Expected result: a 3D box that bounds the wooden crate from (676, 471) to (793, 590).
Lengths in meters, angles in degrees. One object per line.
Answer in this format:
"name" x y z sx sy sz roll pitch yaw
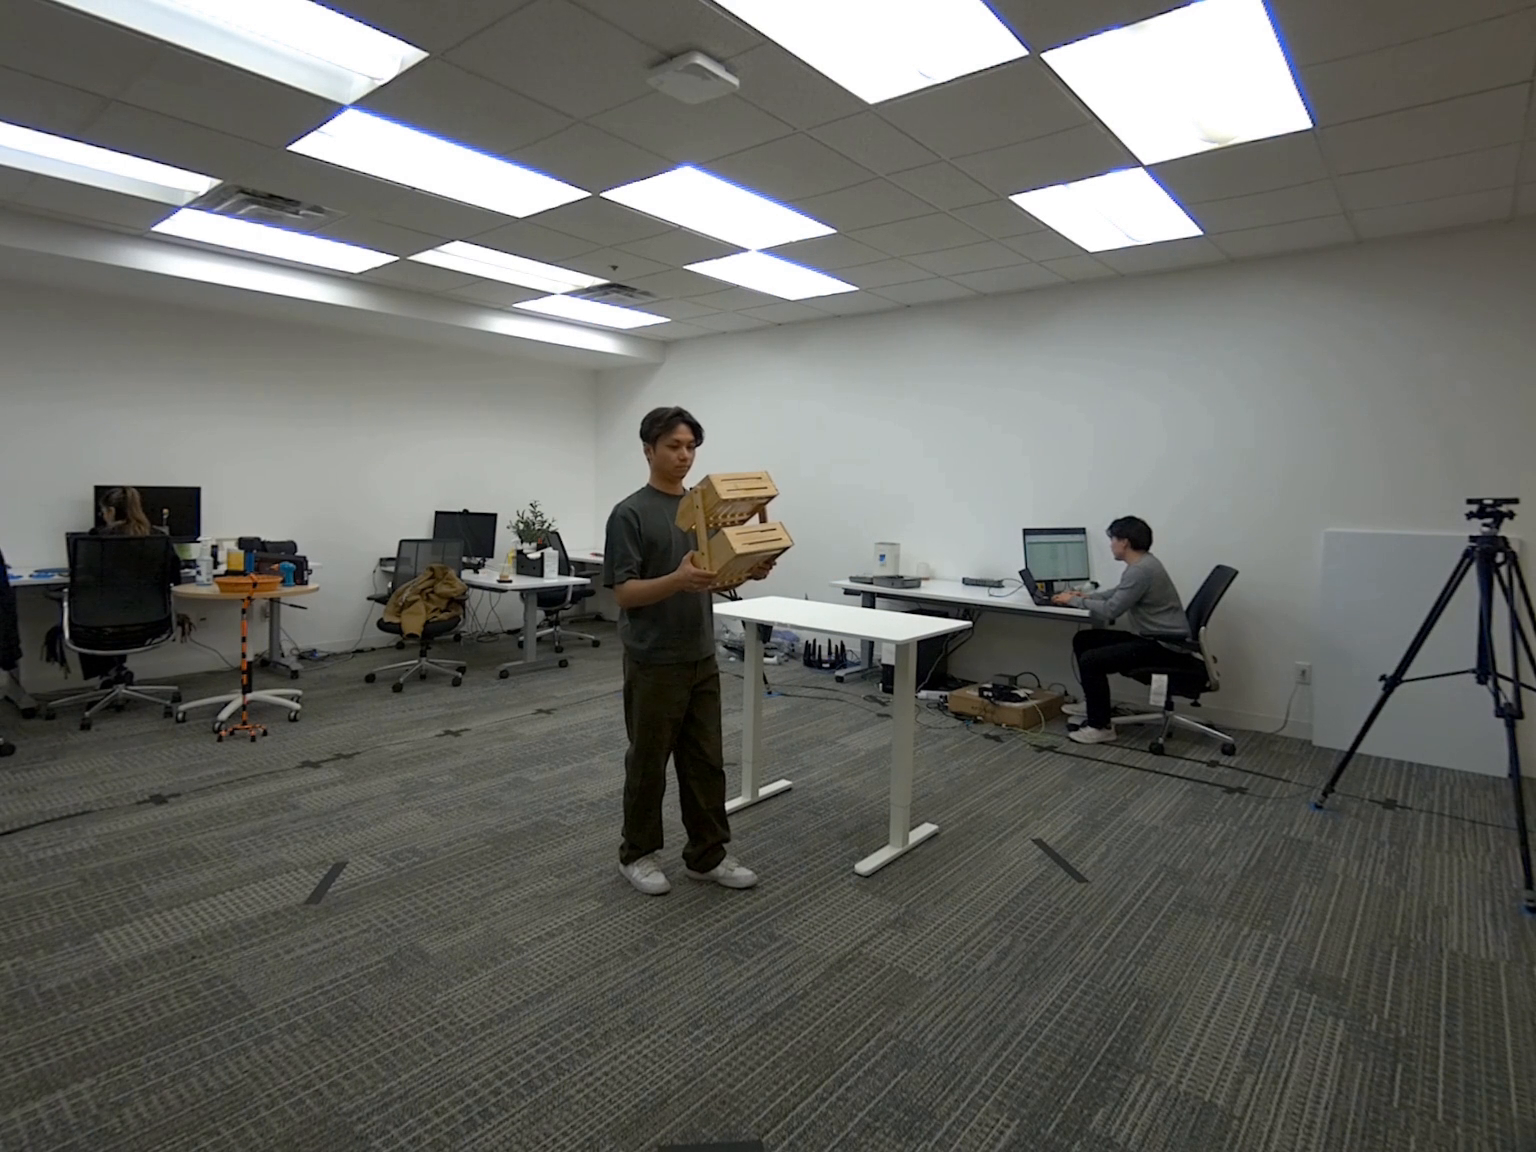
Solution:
"wooden crate" -0.139 -0.151 2.772 0.316 0.279 0.303 -9 -24 -50
